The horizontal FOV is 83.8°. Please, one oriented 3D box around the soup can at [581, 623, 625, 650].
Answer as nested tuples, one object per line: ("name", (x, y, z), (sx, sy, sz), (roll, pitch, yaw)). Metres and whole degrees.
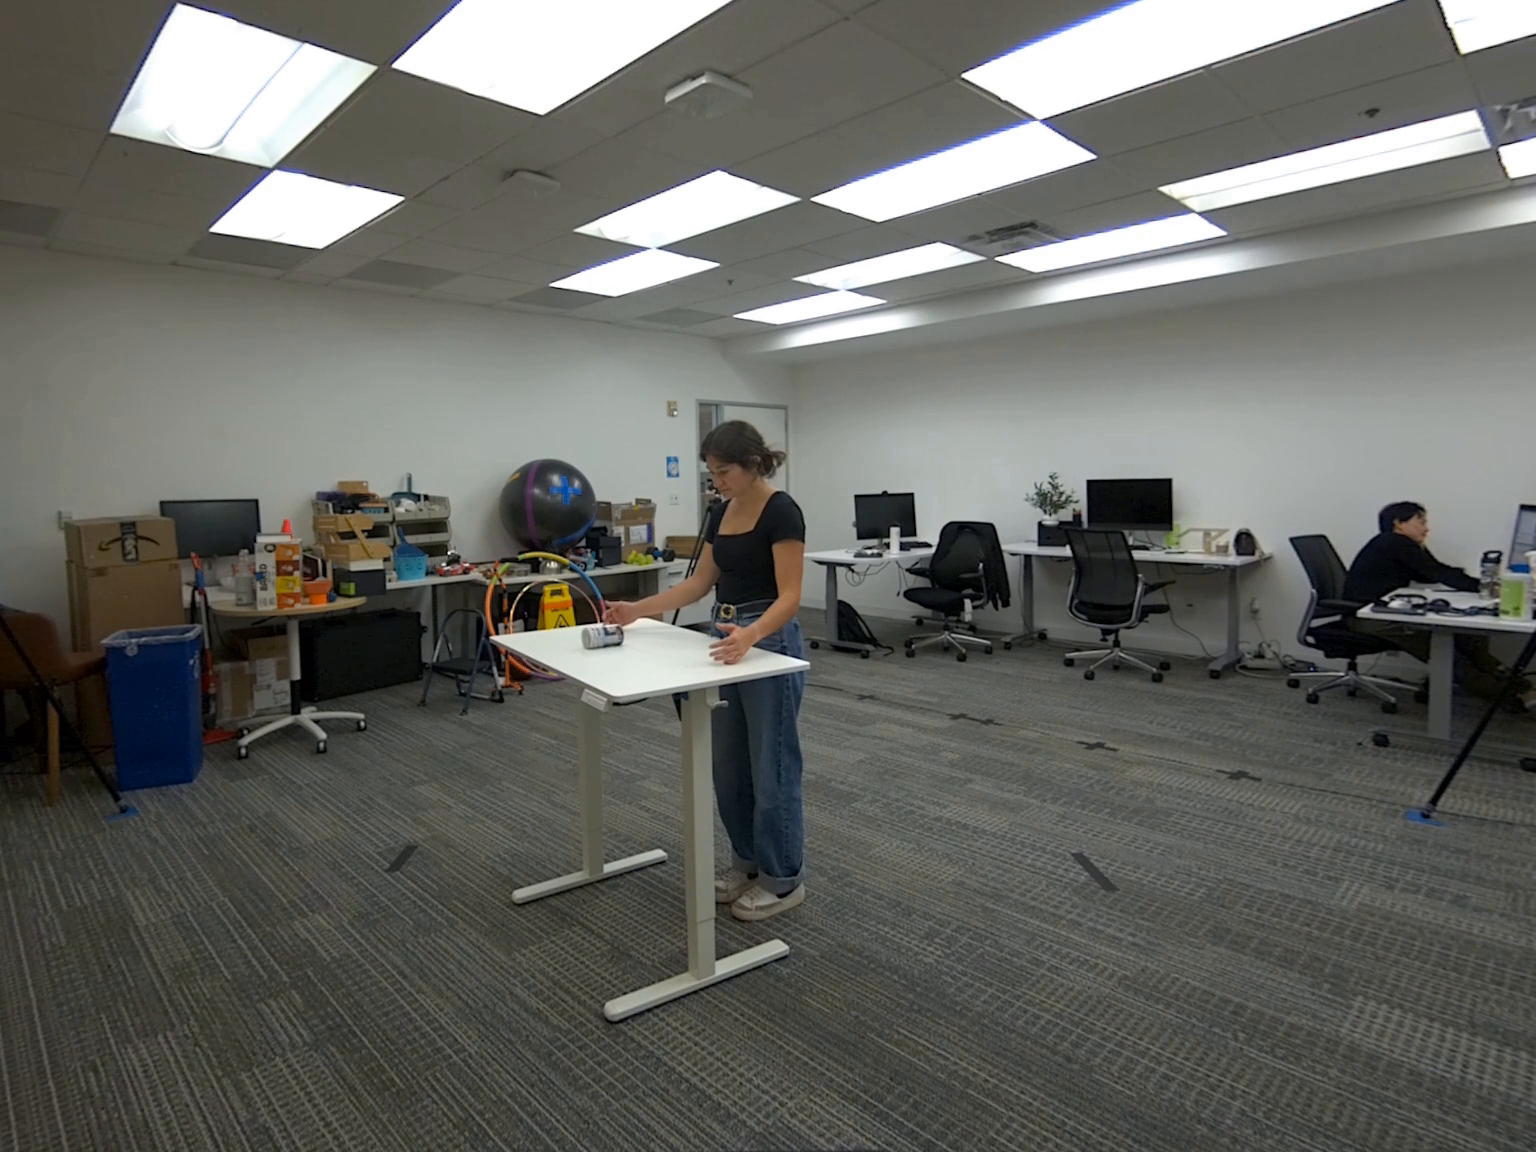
("soup can", (-0.516, 0.188, 2.680), (0.119, 0.067, 0.069), (-4, 5, -28))
